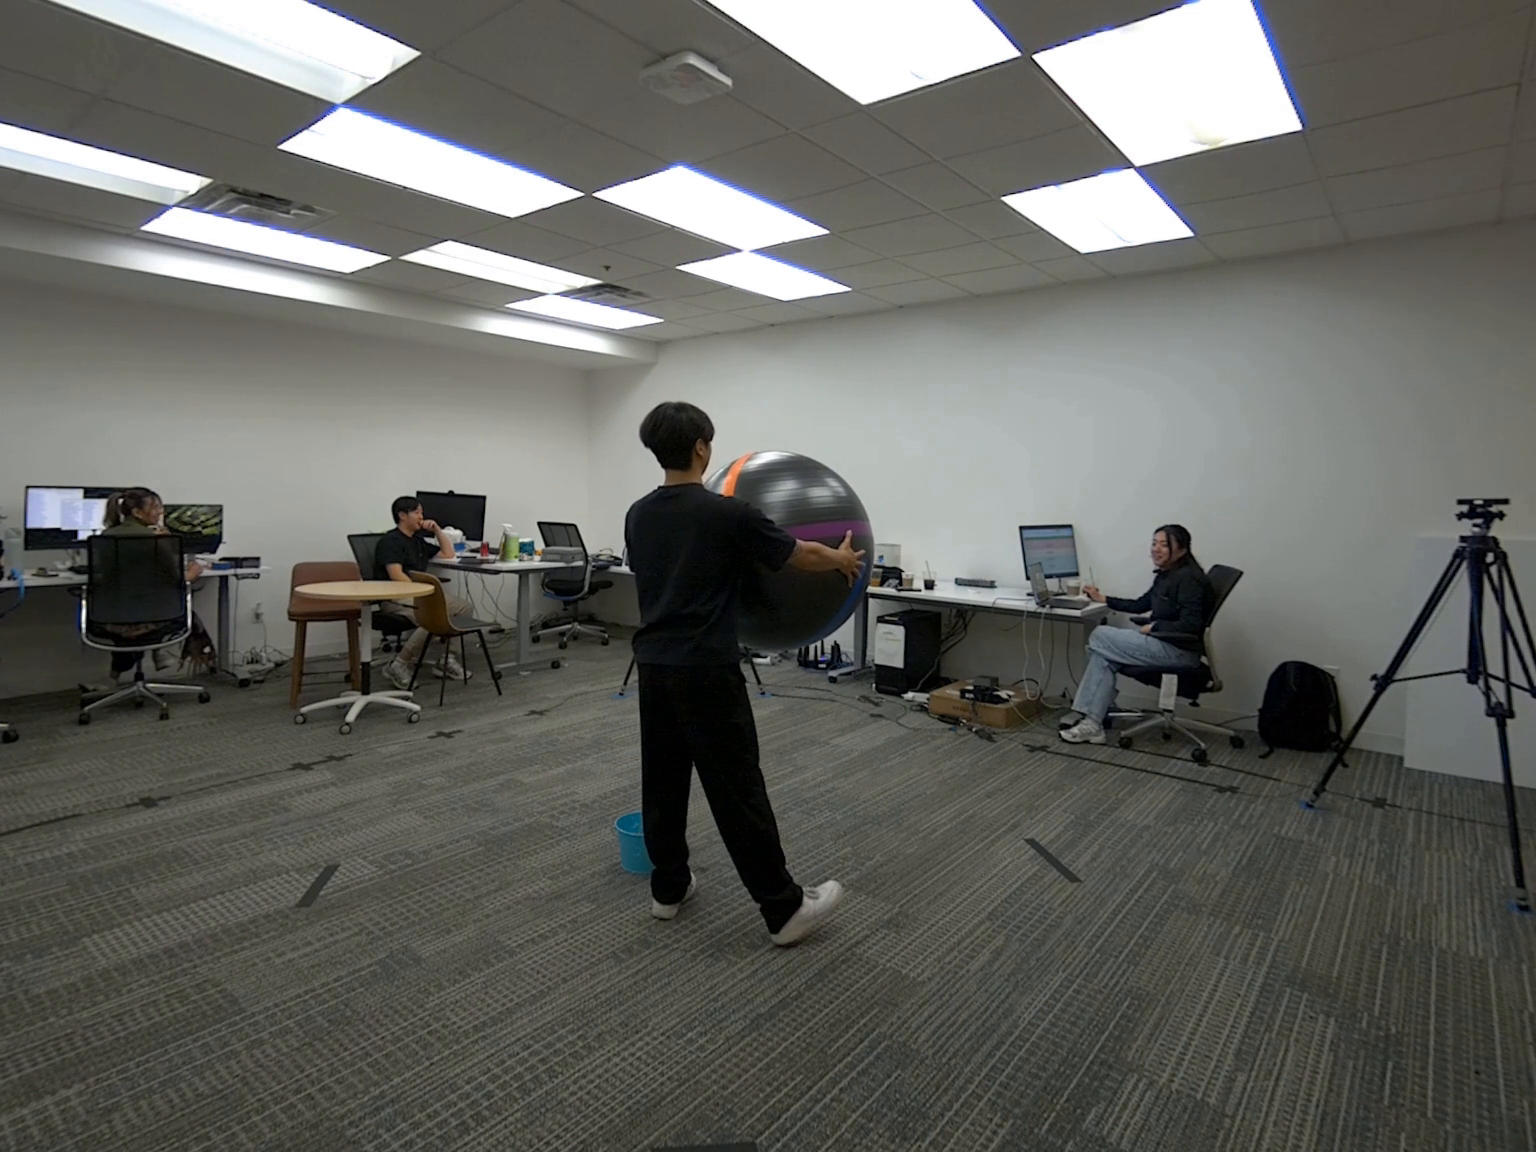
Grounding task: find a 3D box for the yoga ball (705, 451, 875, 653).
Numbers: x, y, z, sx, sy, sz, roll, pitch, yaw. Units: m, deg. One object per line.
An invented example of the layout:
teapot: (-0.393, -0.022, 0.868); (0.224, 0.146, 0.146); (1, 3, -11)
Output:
yoga ball: (0.031, -0.095, 3.287); (0.757, 0.755, 0.762); (1, 4, -2)
